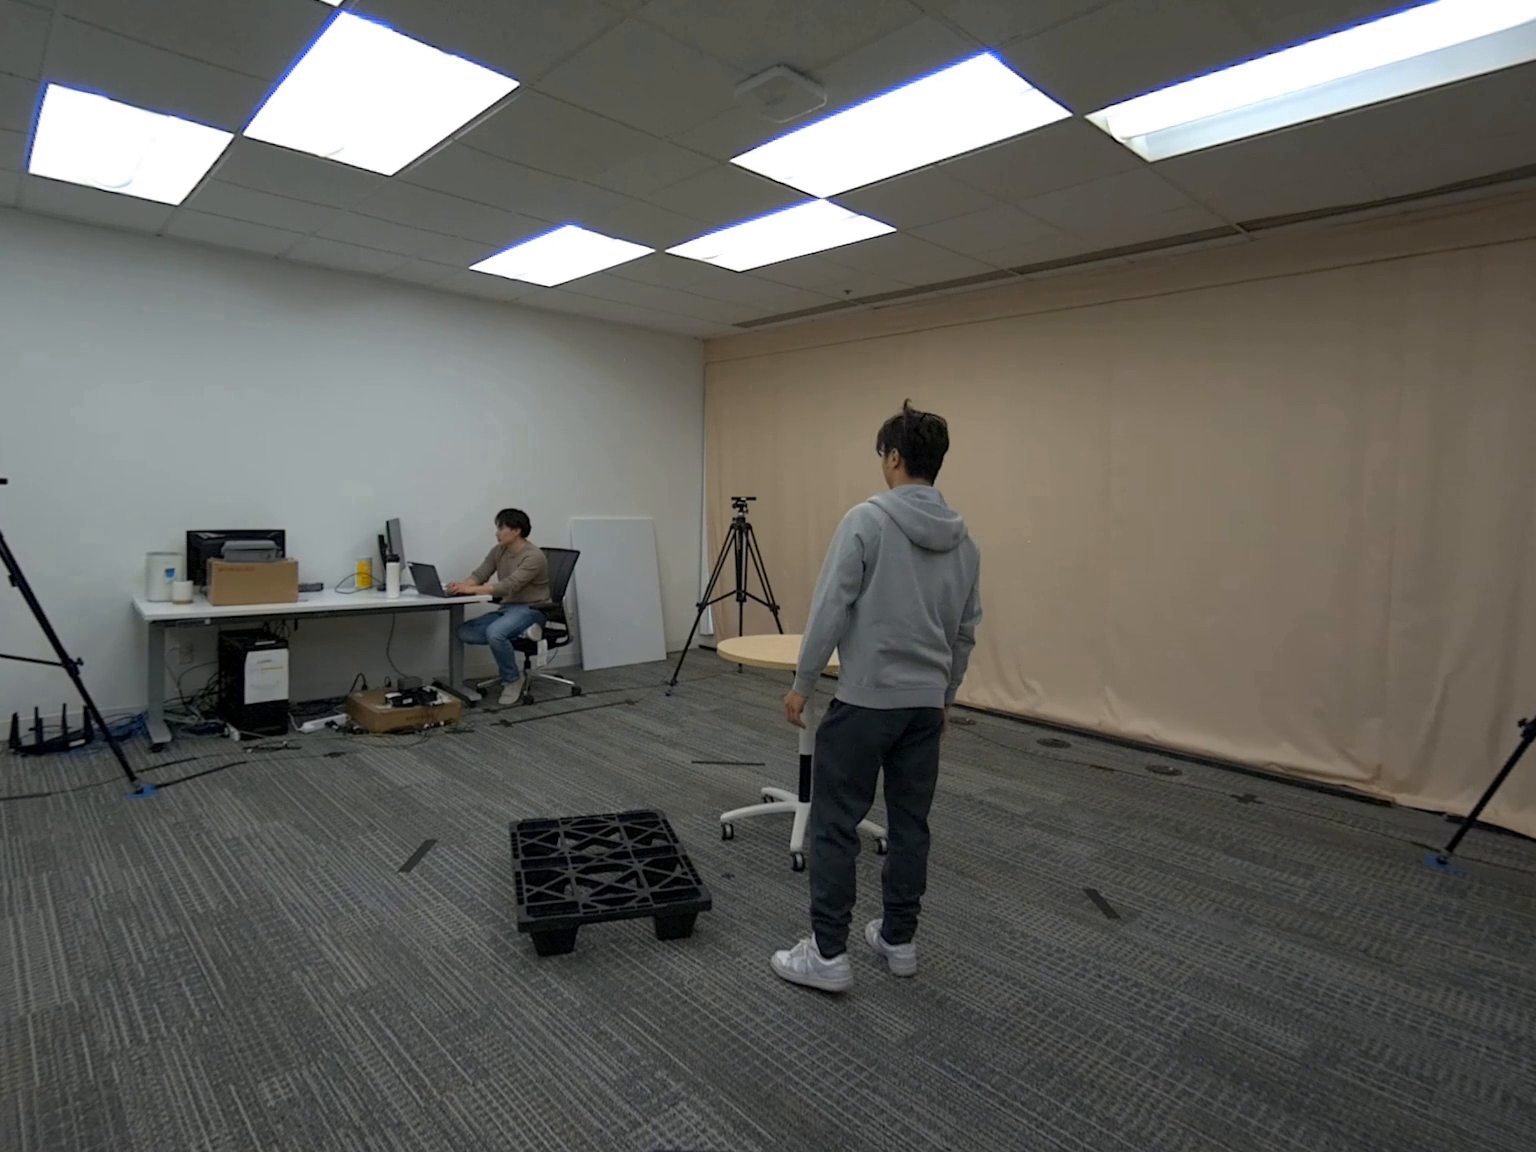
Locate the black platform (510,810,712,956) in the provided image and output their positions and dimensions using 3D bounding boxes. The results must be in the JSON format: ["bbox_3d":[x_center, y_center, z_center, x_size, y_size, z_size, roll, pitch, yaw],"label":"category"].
[{"bbox_3d":[-0.588,1.045,2.947,0.597,0.143,0.819,0,6,-18],"label":"black platform"}]
